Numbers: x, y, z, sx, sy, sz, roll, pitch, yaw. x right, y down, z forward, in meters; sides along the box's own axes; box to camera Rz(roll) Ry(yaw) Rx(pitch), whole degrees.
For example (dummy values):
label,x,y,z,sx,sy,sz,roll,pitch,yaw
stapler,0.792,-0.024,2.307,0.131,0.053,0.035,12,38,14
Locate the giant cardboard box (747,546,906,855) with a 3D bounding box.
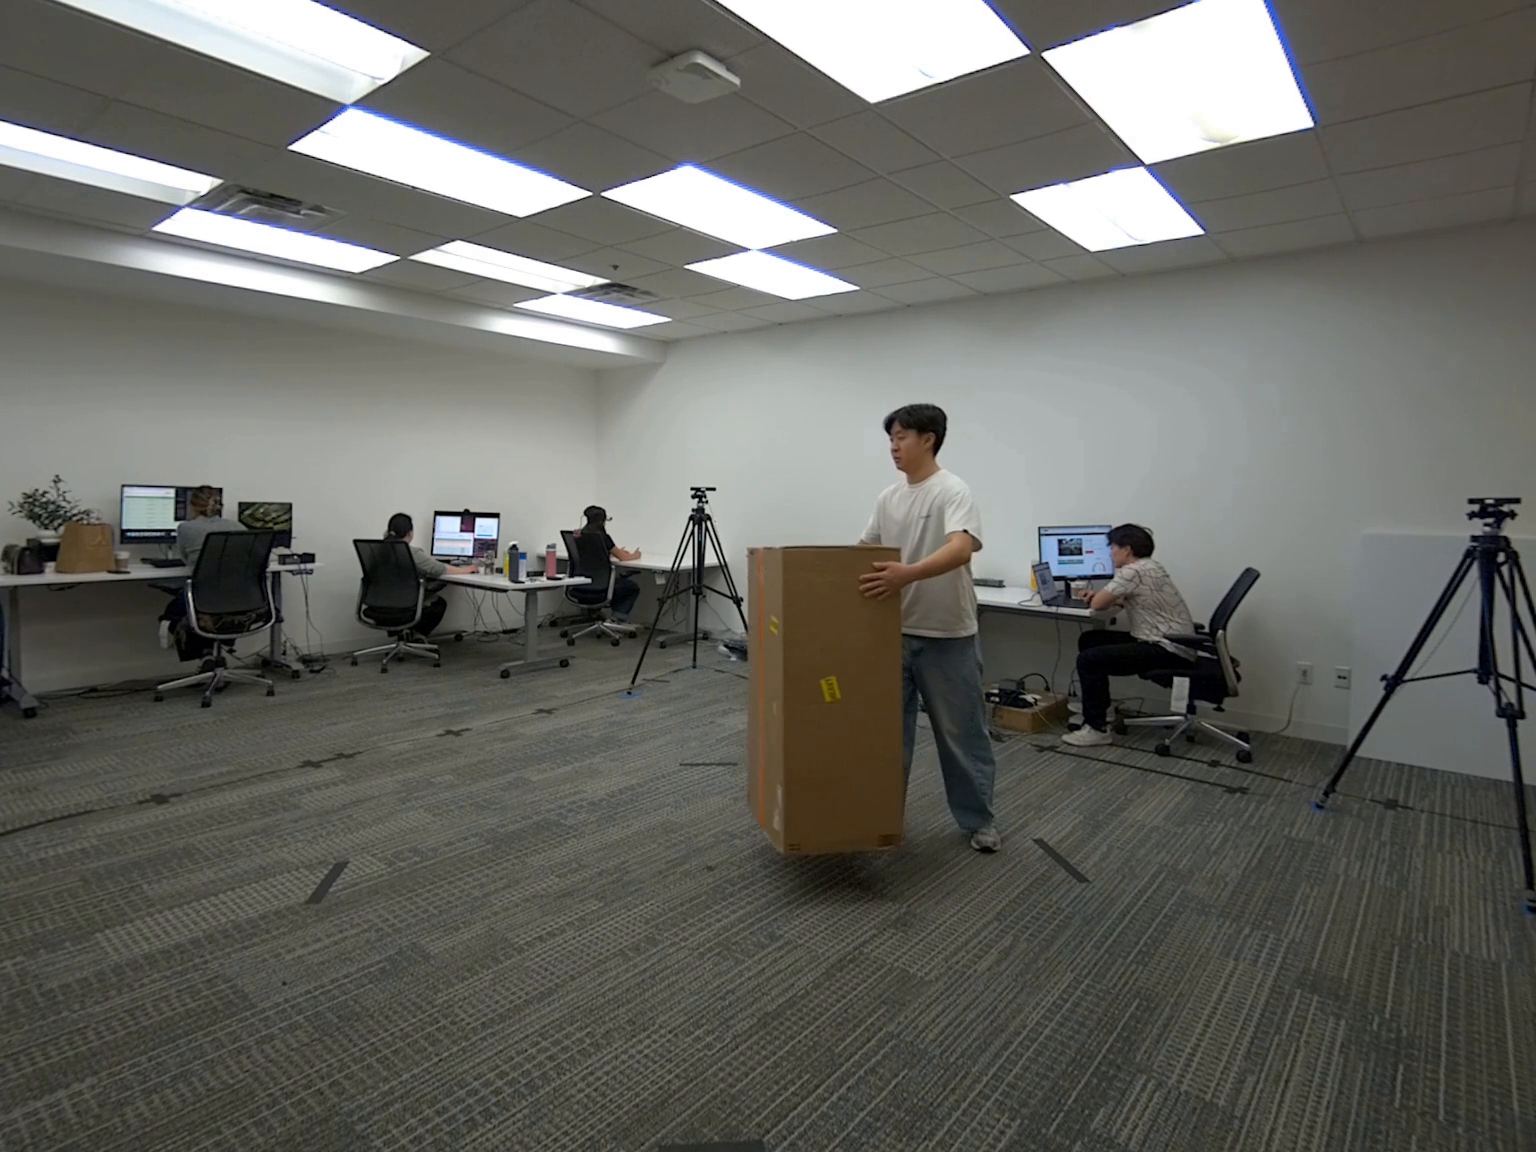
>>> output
label,x,y,z,sx,sy,sz,roll,pitch,yaw
giant cardboard box,0.172,0.405,3.131,0.421,1.027,0.584,0,-1,-13
